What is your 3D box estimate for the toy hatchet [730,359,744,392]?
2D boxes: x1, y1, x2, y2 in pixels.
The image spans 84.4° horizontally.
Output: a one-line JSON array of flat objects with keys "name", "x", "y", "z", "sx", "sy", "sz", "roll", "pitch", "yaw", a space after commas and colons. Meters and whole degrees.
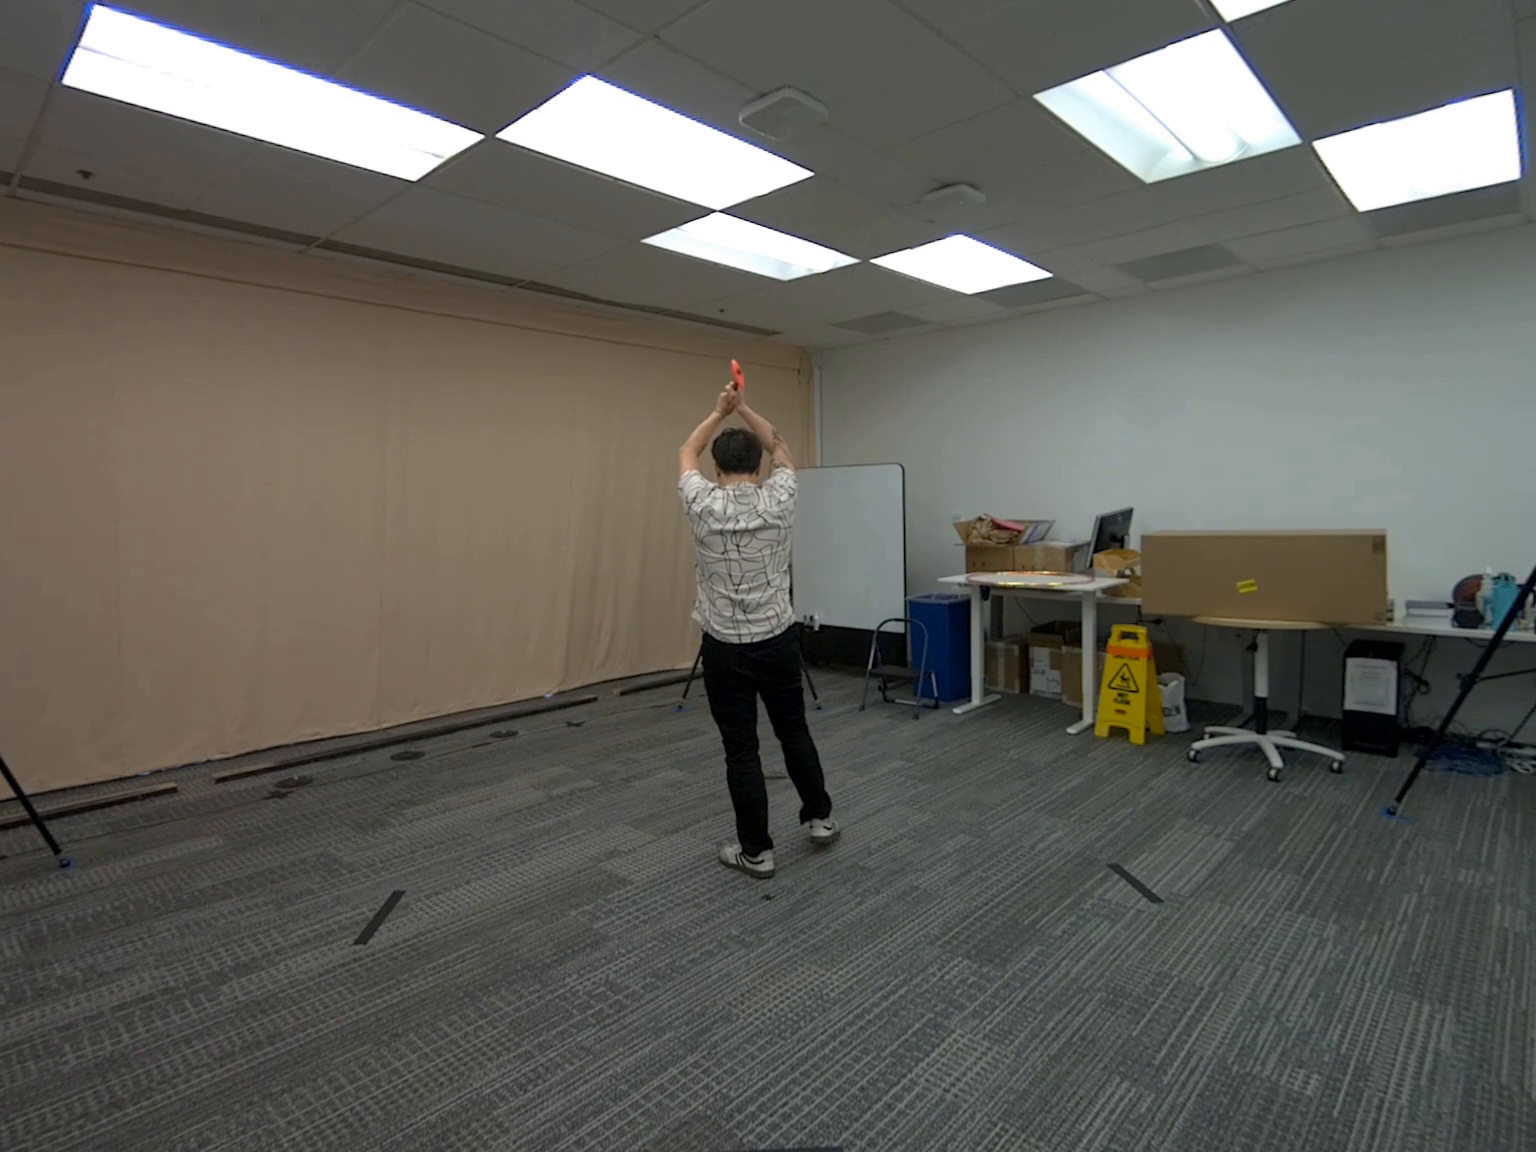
[{"name": "toy hatchet", "x": -0.137, "y": -0.757, "z": 3.294, "sx": 0.029, "sy": 0.131, "sz": 0.273, "roll": -15, "pitch": 0, "yaw": -15}]
